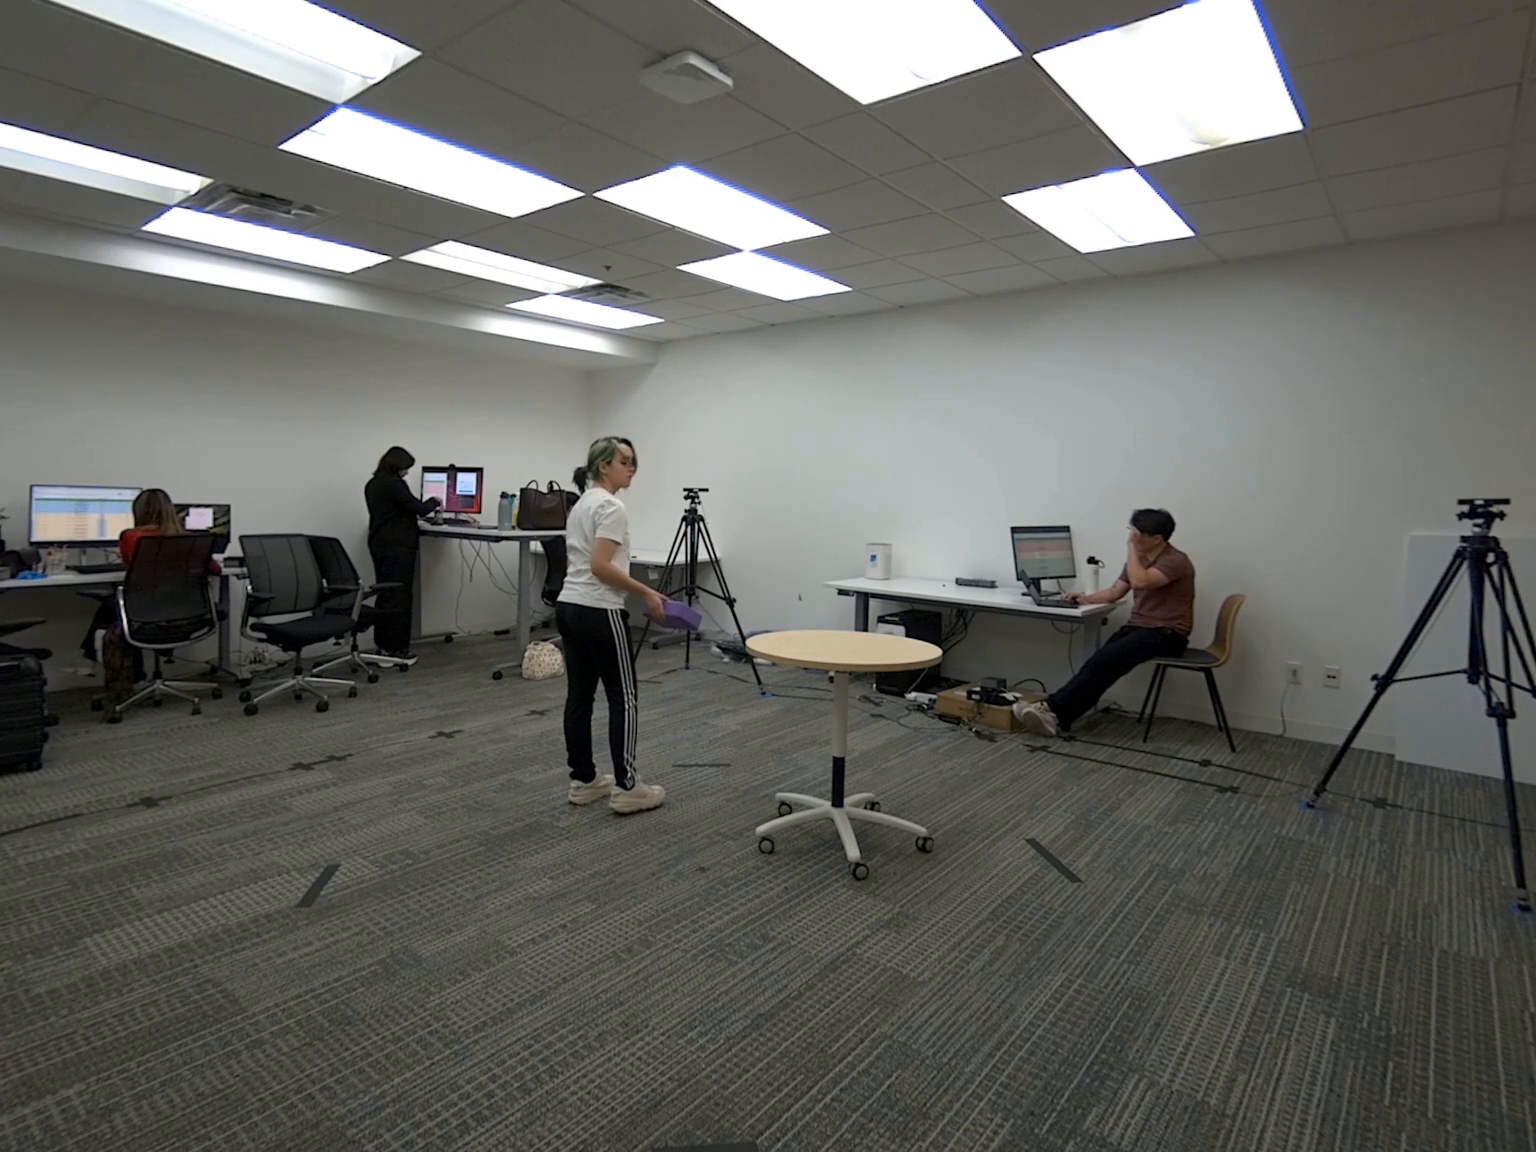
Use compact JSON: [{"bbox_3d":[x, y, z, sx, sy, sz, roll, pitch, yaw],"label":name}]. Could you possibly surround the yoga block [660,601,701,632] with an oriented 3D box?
[{"bbox_3d":[-0.427,0.172,3.752,0.237,0.077,0.143,1,-26,42],"label":"yoga block"}]
